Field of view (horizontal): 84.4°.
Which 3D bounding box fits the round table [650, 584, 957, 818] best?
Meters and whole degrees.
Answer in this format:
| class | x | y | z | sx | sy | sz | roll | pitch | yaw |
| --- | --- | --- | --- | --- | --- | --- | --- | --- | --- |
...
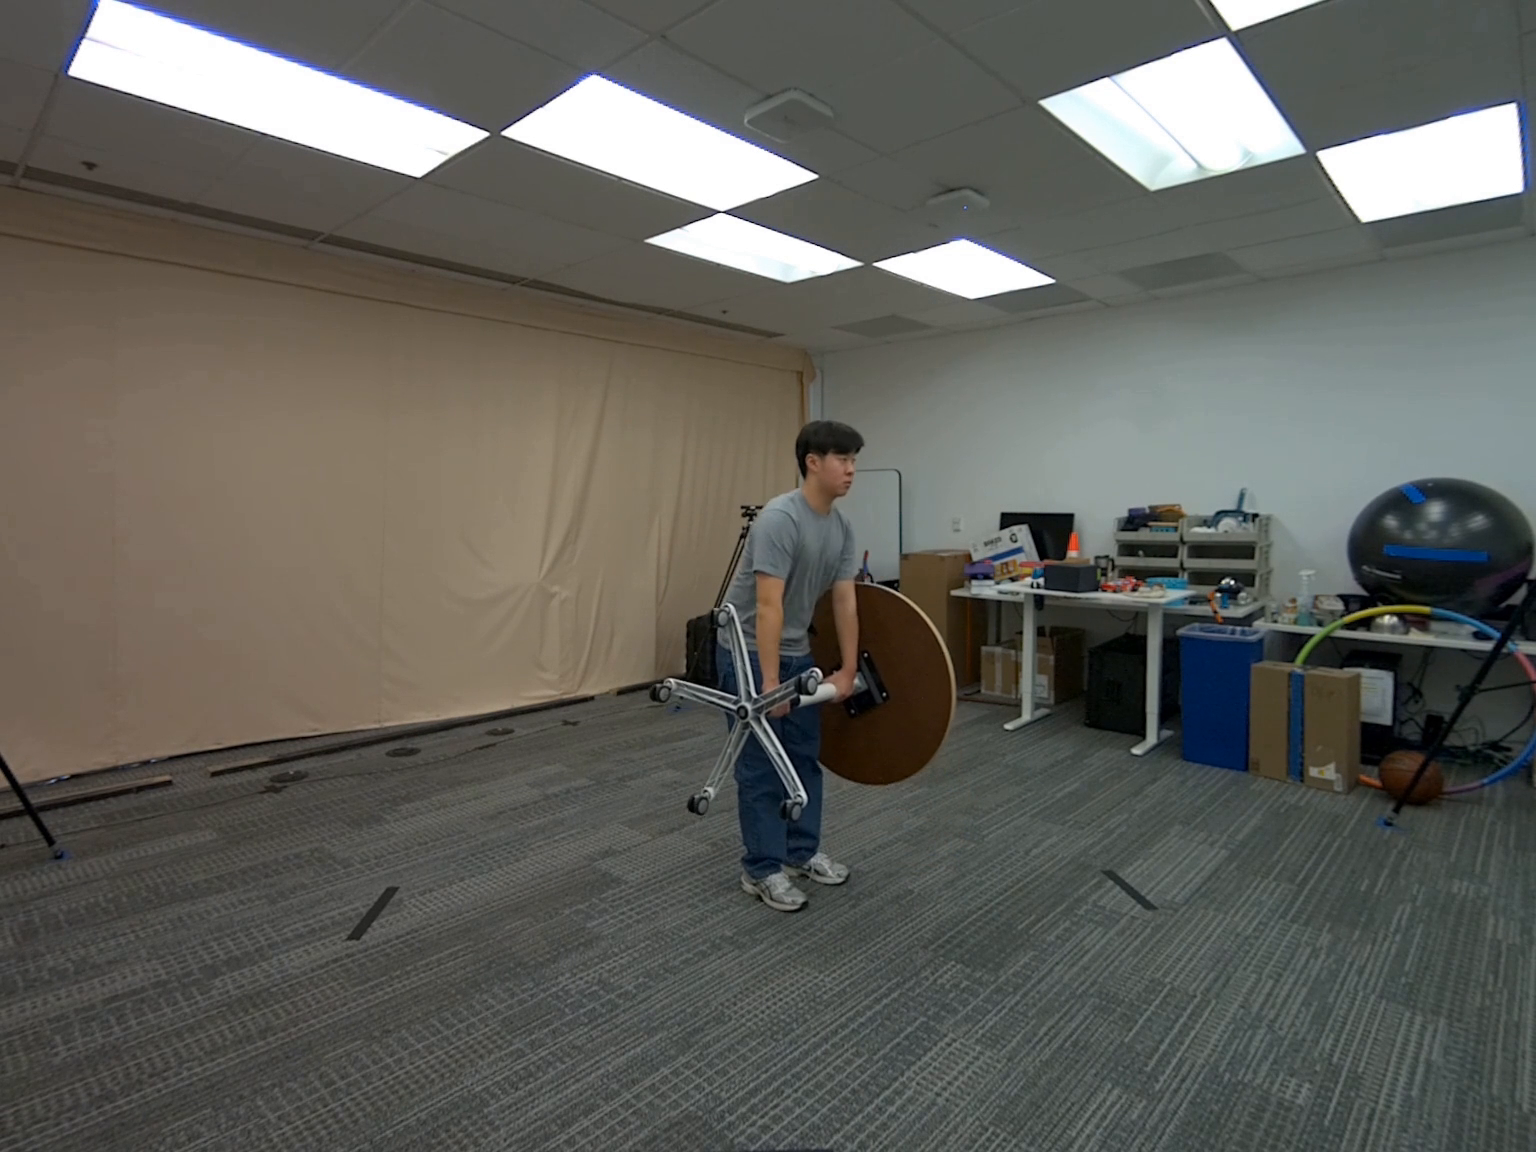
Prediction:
| class | x | y | z | sx | sy | sz | roll | pitch | yaw |
| --- | --- | --- | --- | --- | --- | --- | --- | --- | --- |
| round table | 0.125 | 0.439 | 2.929 | 0.789 | 0.762 | 0.769 | 3 | 4 | 40 |
